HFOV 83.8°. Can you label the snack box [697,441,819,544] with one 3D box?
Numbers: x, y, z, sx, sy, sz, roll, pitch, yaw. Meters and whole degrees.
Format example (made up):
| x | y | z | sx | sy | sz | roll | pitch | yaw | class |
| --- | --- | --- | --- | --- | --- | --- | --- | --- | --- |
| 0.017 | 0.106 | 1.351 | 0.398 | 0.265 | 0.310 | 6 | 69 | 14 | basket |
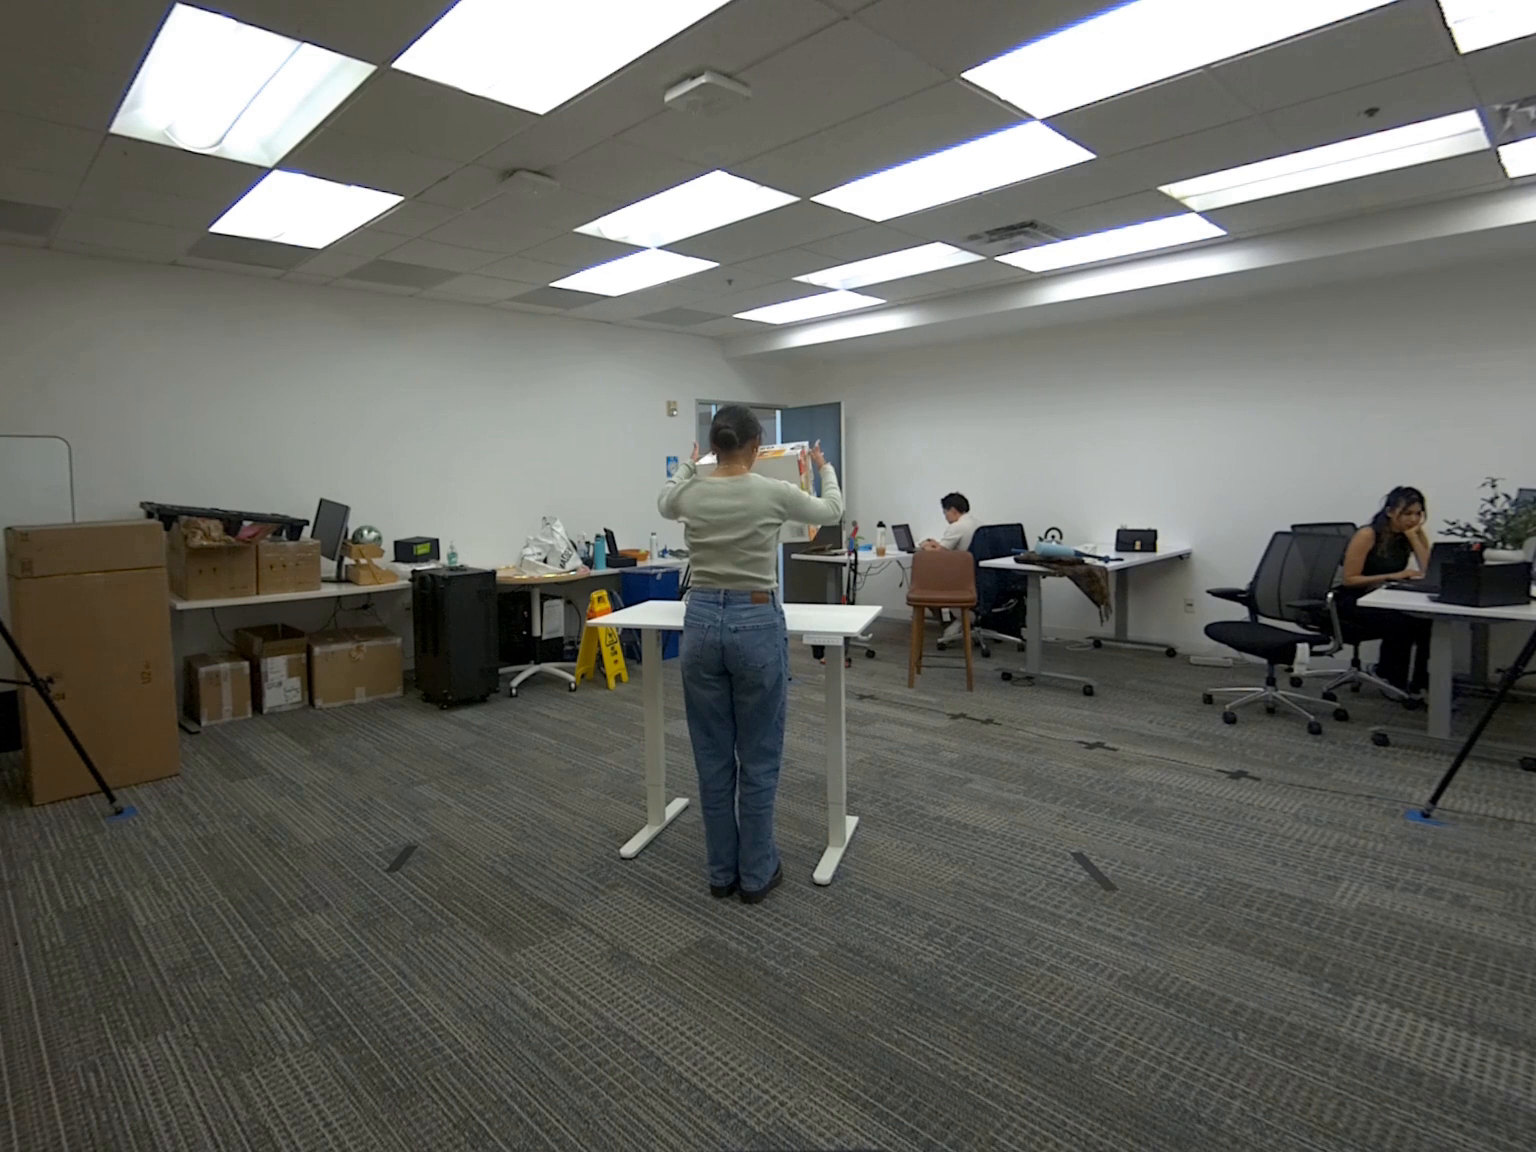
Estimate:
| x | y | z | sx | sy | sz | roll | pitch | yaw | class |
| --- | --- | --- | --- | --- | --- | --- | --- | --- | --- |
| -0.026 | -0.300 | 3.308 | 0.412 | 0.335 | 0.205 | -4 | 17 | 20 | snack box |
